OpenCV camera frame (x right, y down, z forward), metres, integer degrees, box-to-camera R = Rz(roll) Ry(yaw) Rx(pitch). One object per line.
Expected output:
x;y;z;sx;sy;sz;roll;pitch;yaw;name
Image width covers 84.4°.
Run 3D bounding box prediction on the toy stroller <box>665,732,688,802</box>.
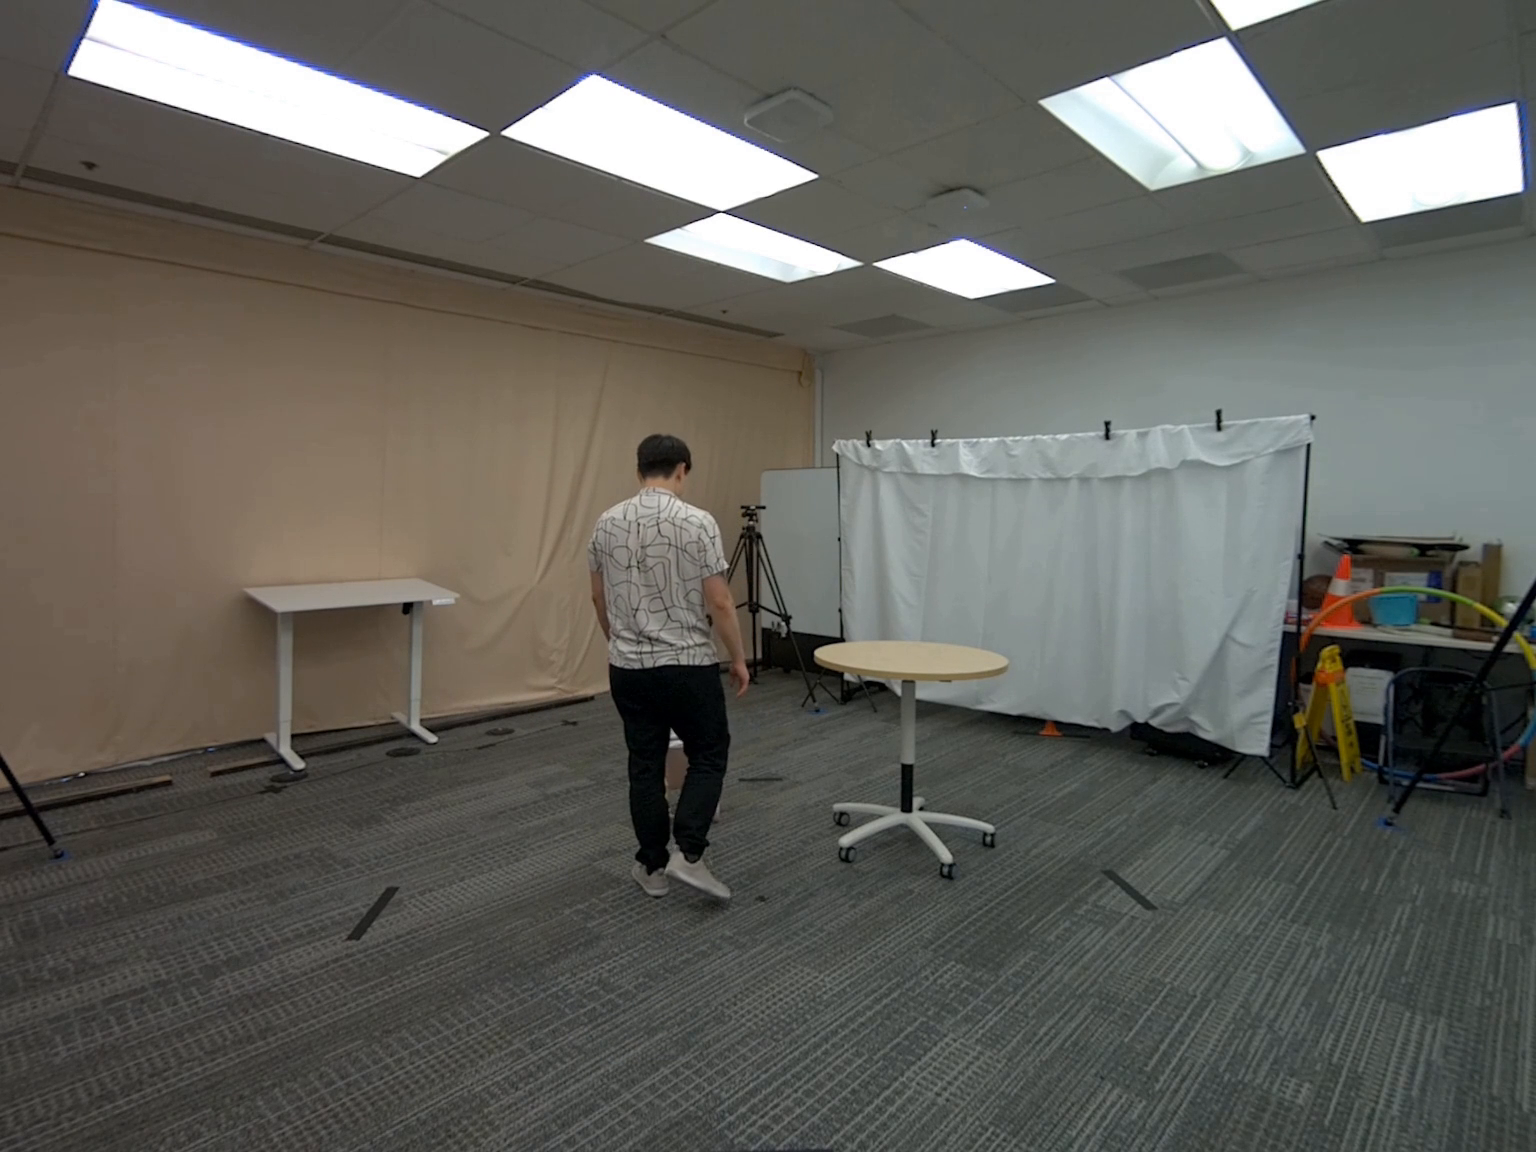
-0.362;0.861;3.774;0.281;0.529;0.345;0;18;-2;toy stroller
